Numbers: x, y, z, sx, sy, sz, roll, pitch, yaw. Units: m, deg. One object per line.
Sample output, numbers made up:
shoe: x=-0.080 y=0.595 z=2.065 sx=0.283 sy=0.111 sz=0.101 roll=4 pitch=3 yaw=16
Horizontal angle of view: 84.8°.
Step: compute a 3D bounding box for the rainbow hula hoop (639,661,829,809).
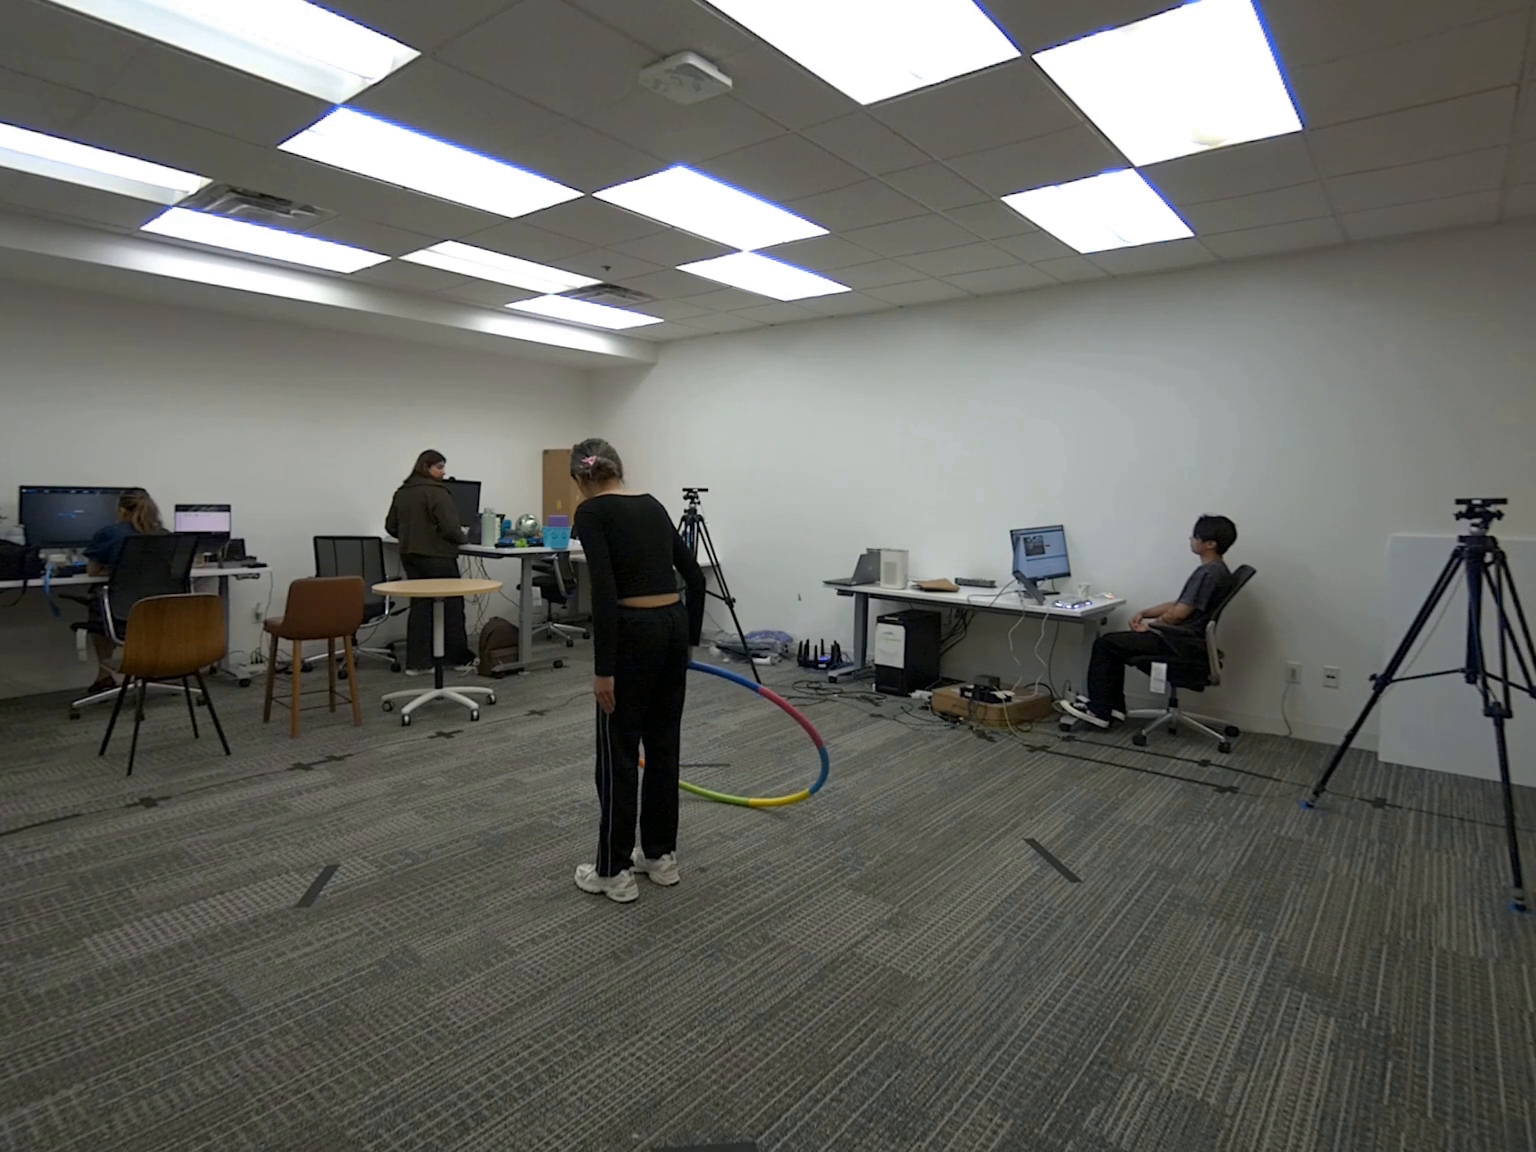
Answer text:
rainbow hula hoop: x=-0.248 y=0.655 z=3.465 sx=1.001 sy=0.943 sz=0.036 roll=3 pitch=45 yaw=22
